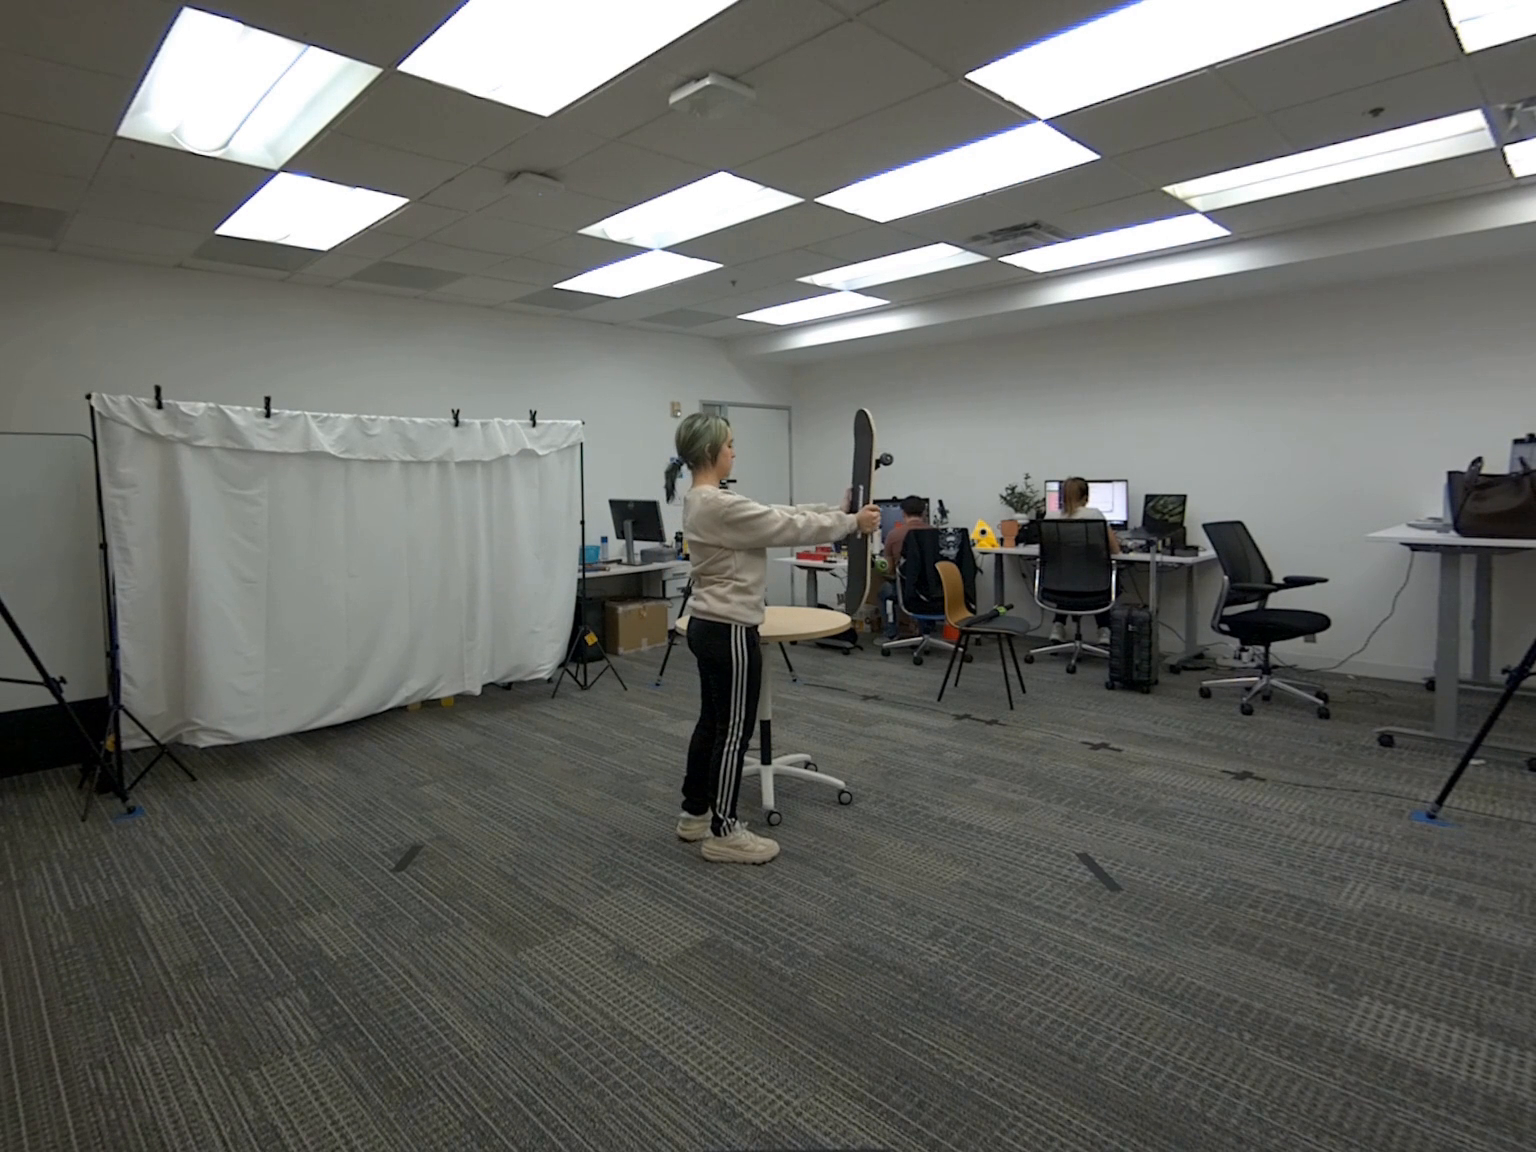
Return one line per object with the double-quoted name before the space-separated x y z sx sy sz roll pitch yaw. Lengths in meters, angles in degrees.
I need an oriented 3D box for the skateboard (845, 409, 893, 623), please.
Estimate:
"skateboard" 0.373 -0.240 3.247 0.108 0.788 0.196 5 -3 -16
